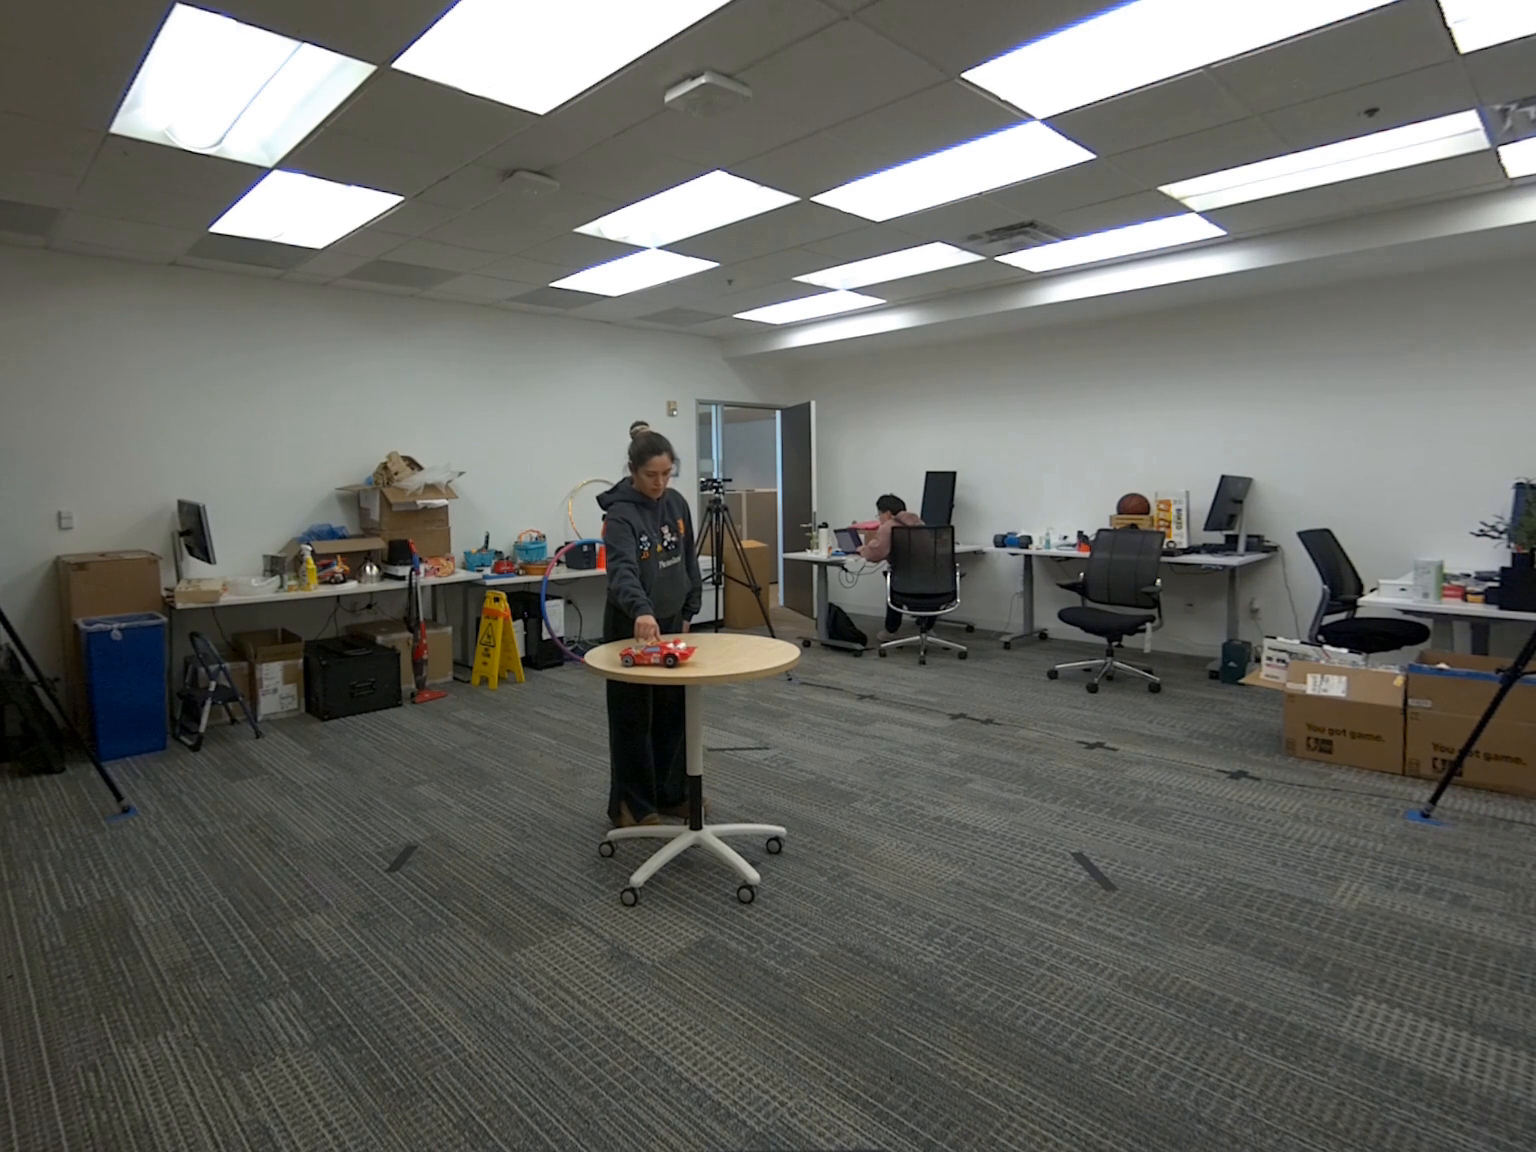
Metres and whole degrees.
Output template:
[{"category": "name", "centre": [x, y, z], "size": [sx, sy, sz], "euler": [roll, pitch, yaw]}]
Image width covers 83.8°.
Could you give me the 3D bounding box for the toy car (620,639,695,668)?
[{"category": "toy car", "centre": [-0.358, 0.265, 2.838], "size": [0.257, 0.083, 0.129], "euler": [-11, 3, 12]}]
